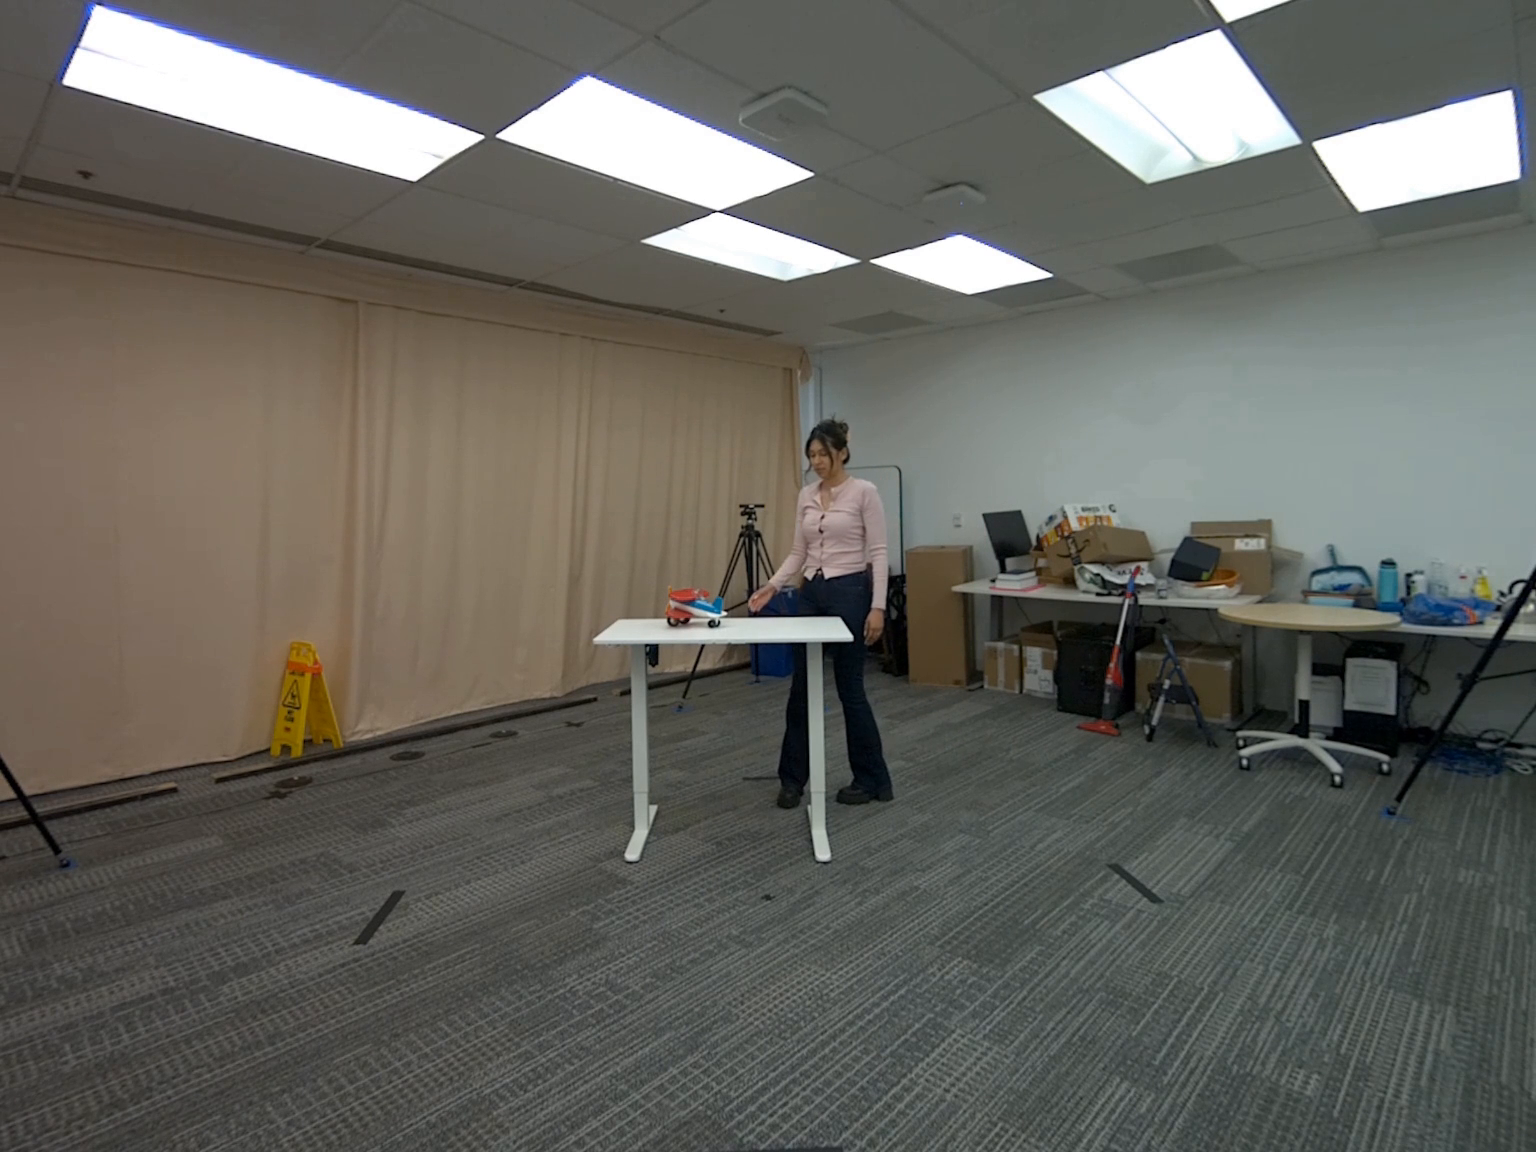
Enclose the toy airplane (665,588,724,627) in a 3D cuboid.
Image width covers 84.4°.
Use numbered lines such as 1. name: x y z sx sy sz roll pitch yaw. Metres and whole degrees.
1. toy airplane: -0.306 0.136 3.600 0.259 0.156 0.251 -2 4 0
